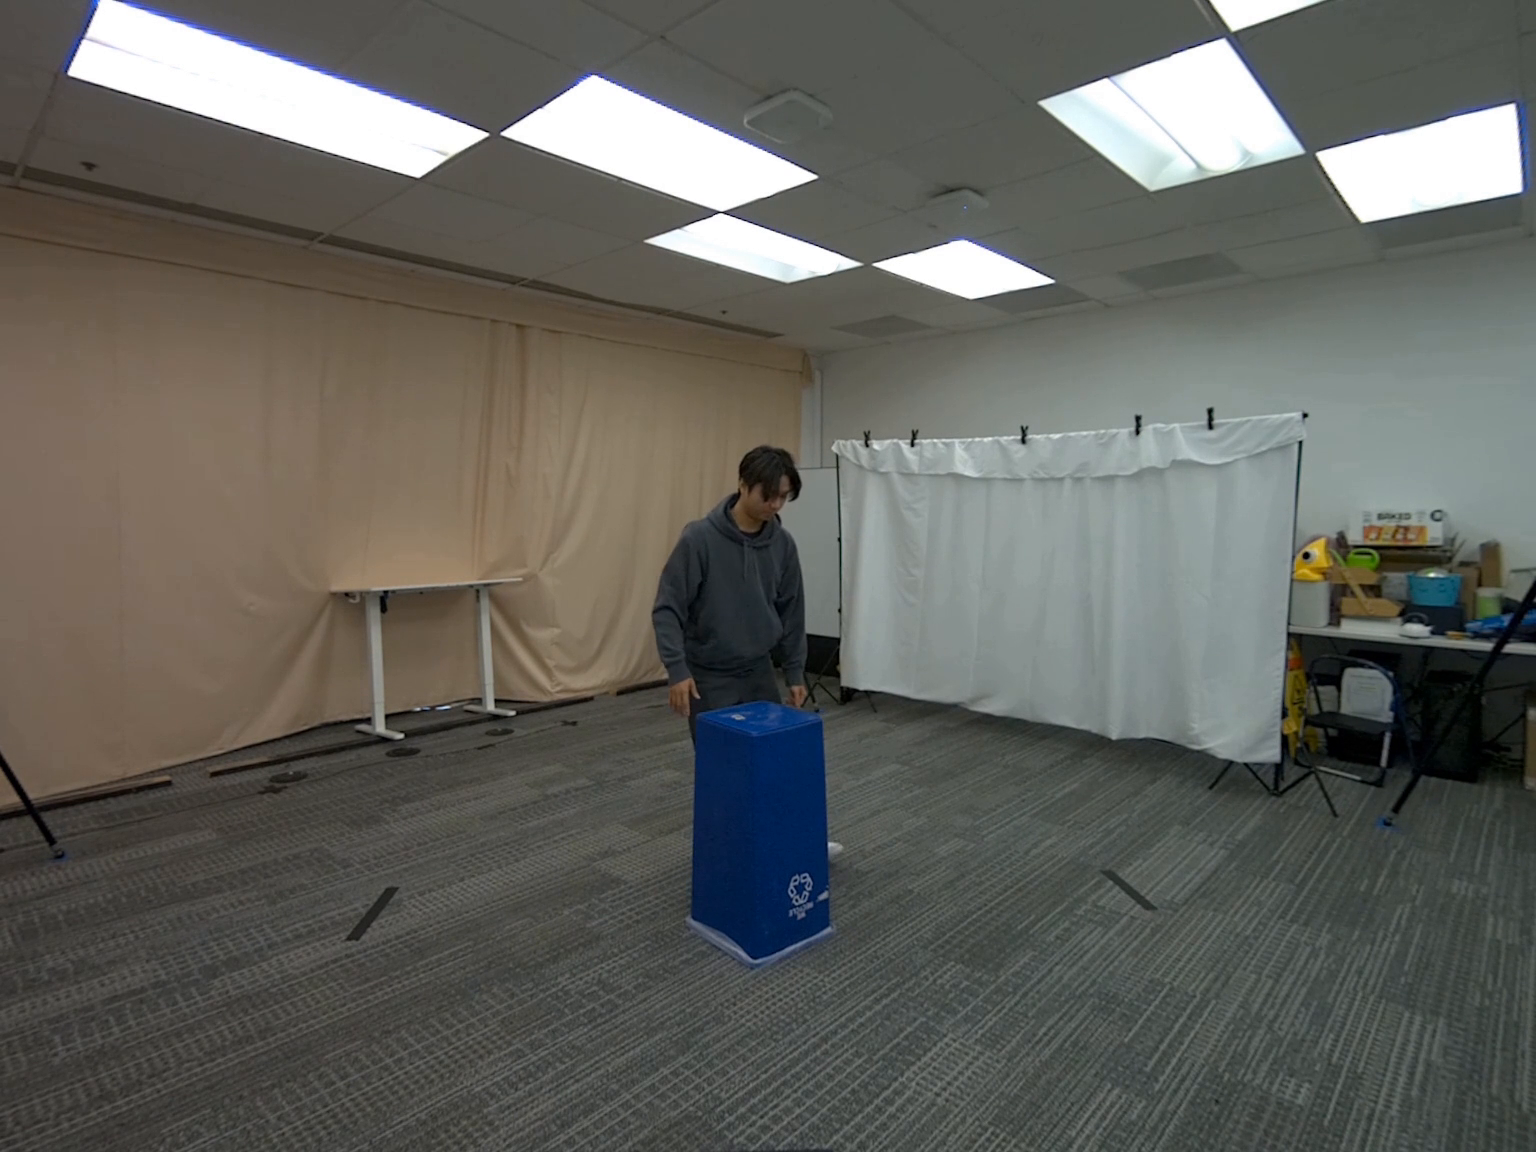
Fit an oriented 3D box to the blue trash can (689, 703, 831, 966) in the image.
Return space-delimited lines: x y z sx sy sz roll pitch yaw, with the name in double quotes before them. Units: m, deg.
"blue trash can" -0.032 0.810 2.754 0.363 0.711 0.390 -4 5 -40
